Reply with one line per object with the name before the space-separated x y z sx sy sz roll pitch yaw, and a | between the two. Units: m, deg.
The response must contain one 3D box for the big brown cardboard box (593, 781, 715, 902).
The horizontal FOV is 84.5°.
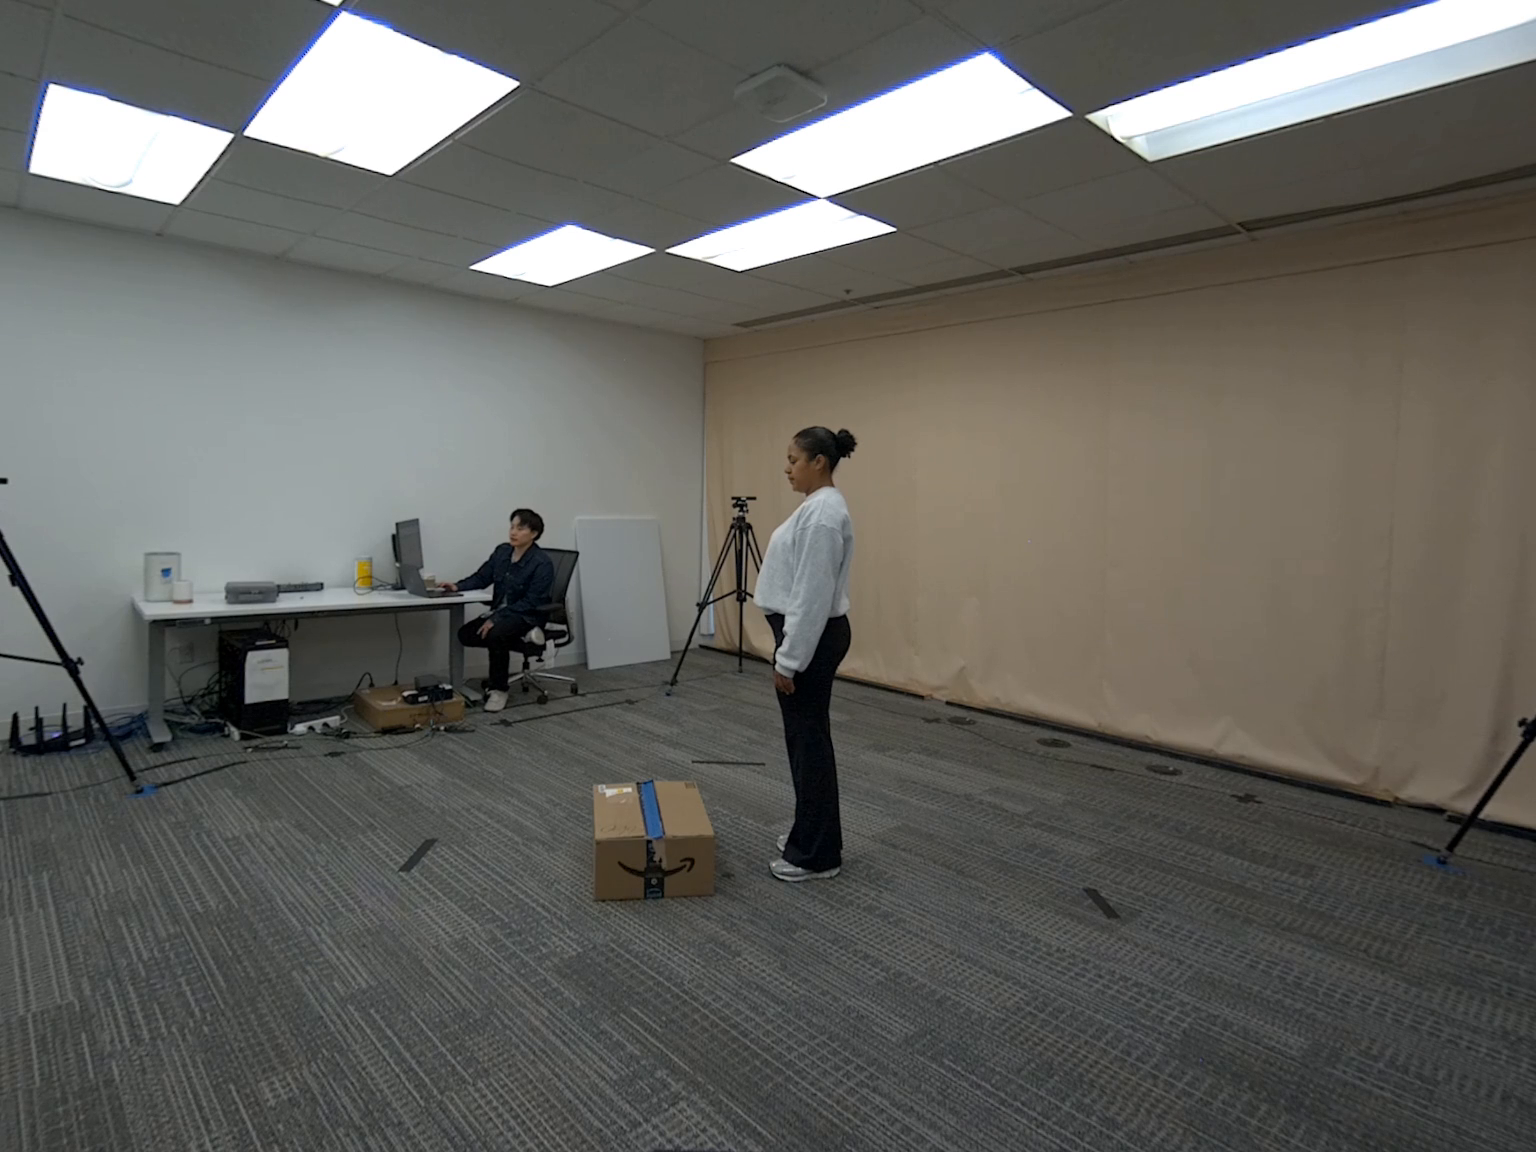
big brown cardboard box | -0.460 0.978 3.183 0.414 0.232 0.596 0 6 -11
